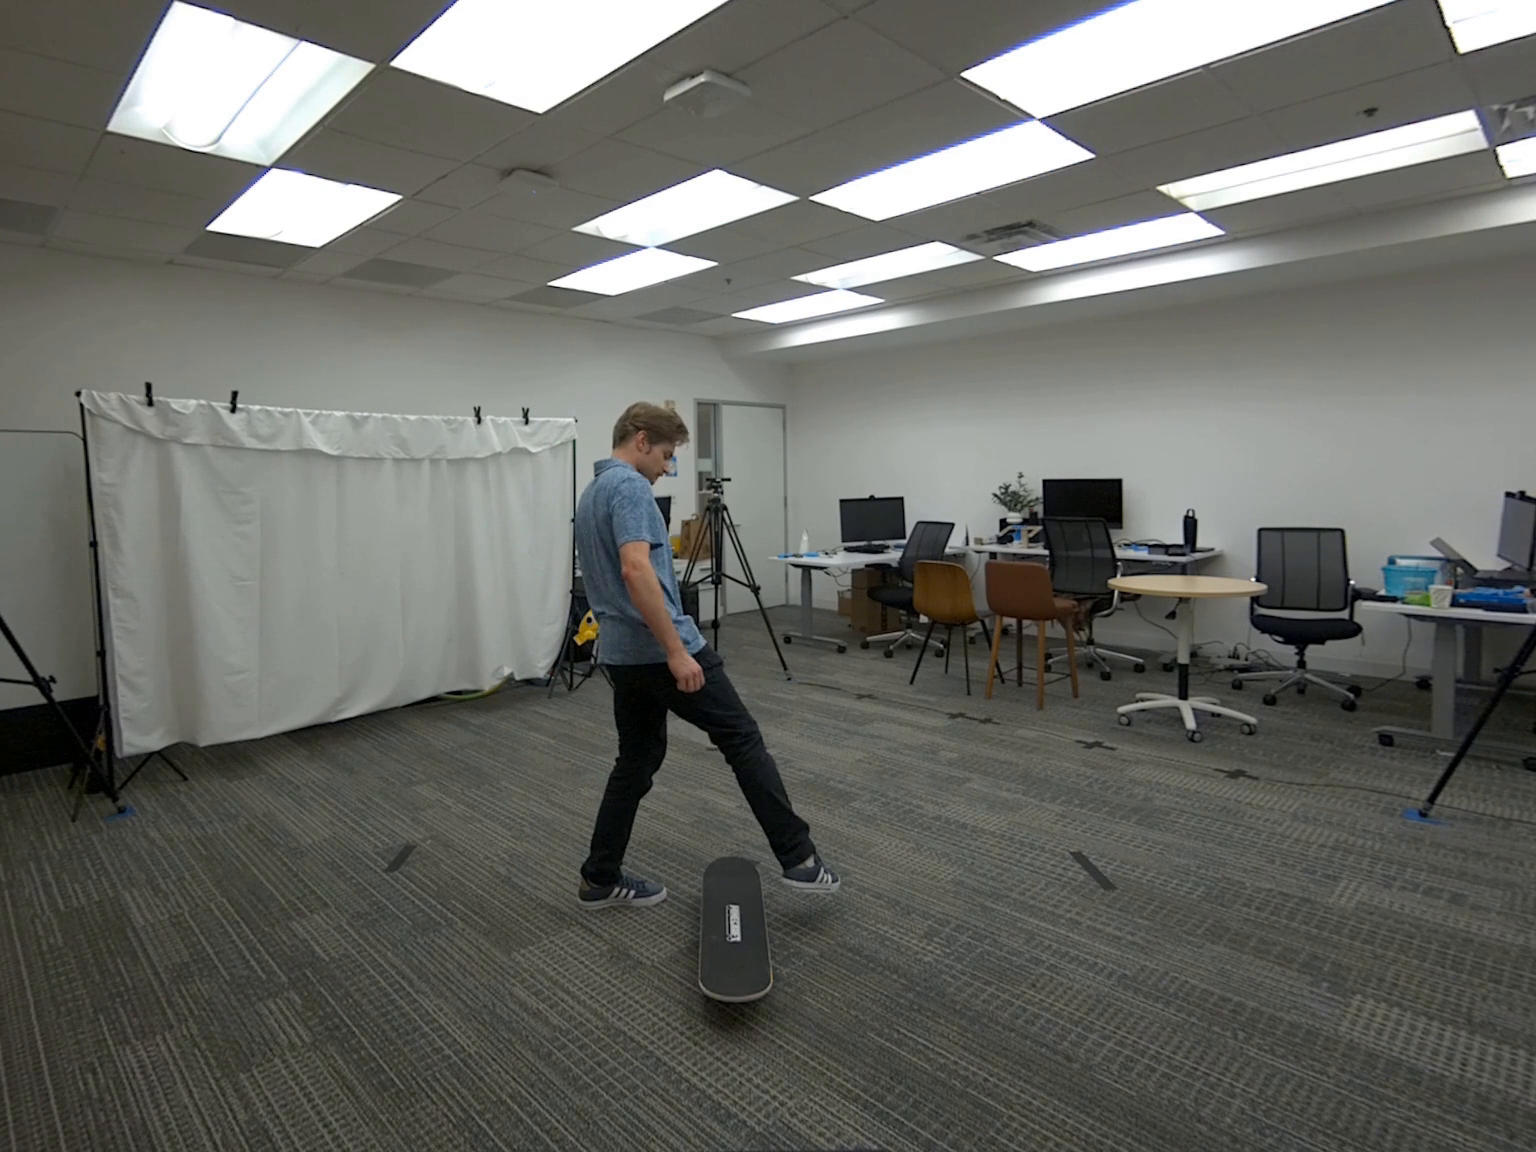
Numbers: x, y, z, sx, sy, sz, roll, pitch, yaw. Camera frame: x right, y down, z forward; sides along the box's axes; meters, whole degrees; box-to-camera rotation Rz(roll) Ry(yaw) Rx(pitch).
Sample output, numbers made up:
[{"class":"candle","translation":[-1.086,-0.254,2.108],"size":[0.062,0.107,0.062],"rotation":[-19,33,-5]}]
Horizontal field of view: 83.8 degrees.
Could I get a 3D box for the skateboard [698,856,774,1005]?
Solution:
[{"class":"skateboard","translation":[-0.097,1.055,2.524],"size":[0.193,0.110,0.790],"rotation":[-1,7,-3]}]
